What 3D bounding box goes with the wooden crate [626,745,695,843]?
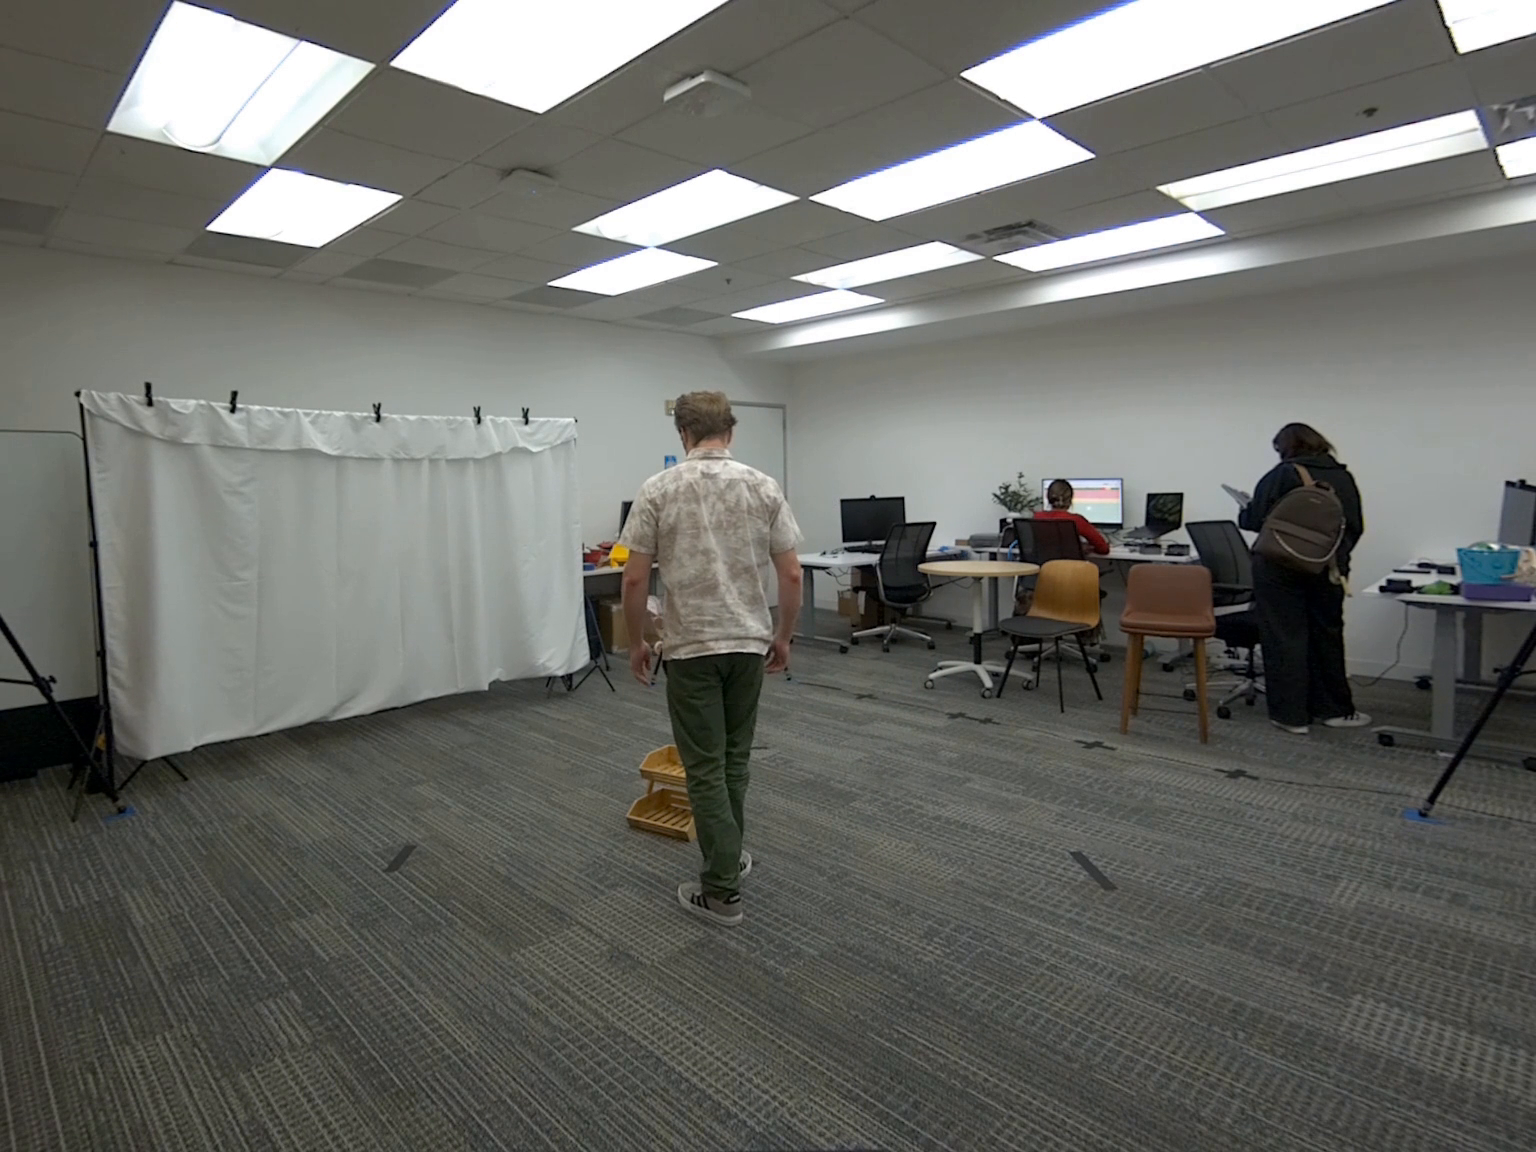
[{"bbox_3d":[-0.369,0.871,3.476,0.333,0.272,0.295,2,5,31],"label":"wooden crate"}]
